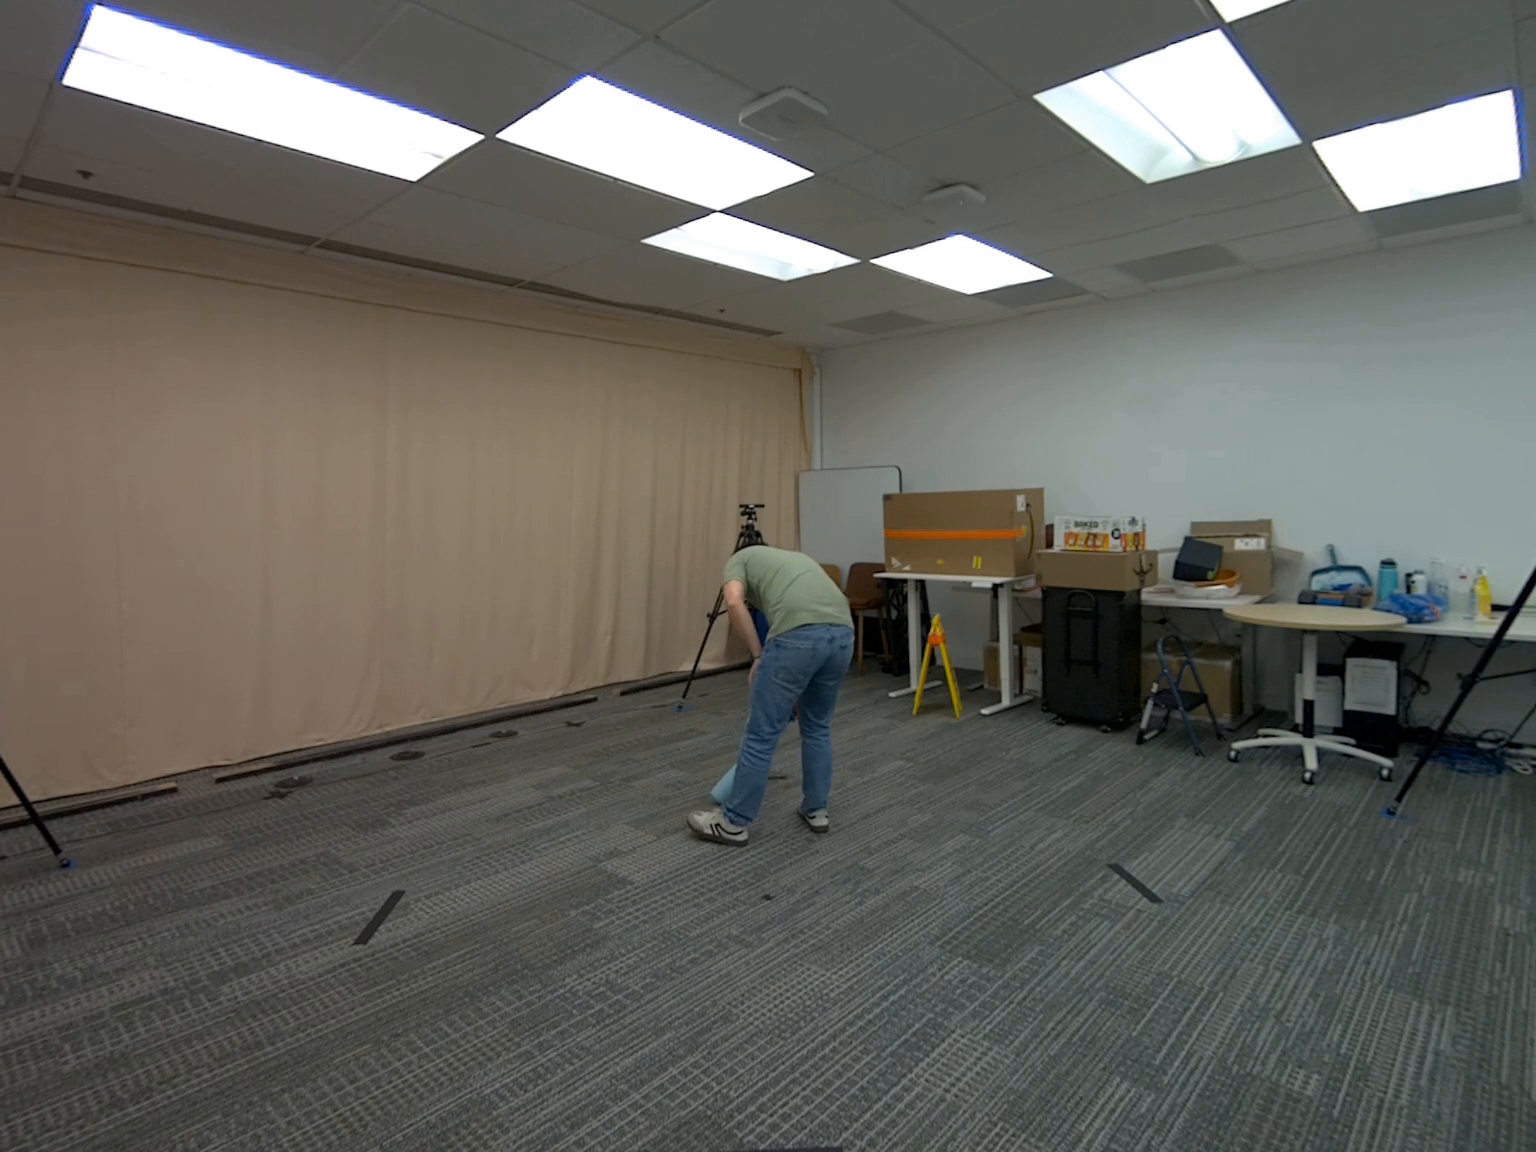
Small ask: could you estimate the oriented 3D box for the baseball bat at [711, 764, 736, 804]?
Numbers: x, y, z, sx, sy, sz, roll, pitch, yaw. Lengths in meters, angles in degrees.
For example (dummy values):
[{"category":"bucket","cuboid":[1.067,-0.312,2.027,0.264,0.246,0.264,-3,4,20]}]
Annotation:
[{"category":"baseball bat","cuboid":[-0.064,0.842,3.942,0.089,0.542,0.089,40,-4,1]}]
